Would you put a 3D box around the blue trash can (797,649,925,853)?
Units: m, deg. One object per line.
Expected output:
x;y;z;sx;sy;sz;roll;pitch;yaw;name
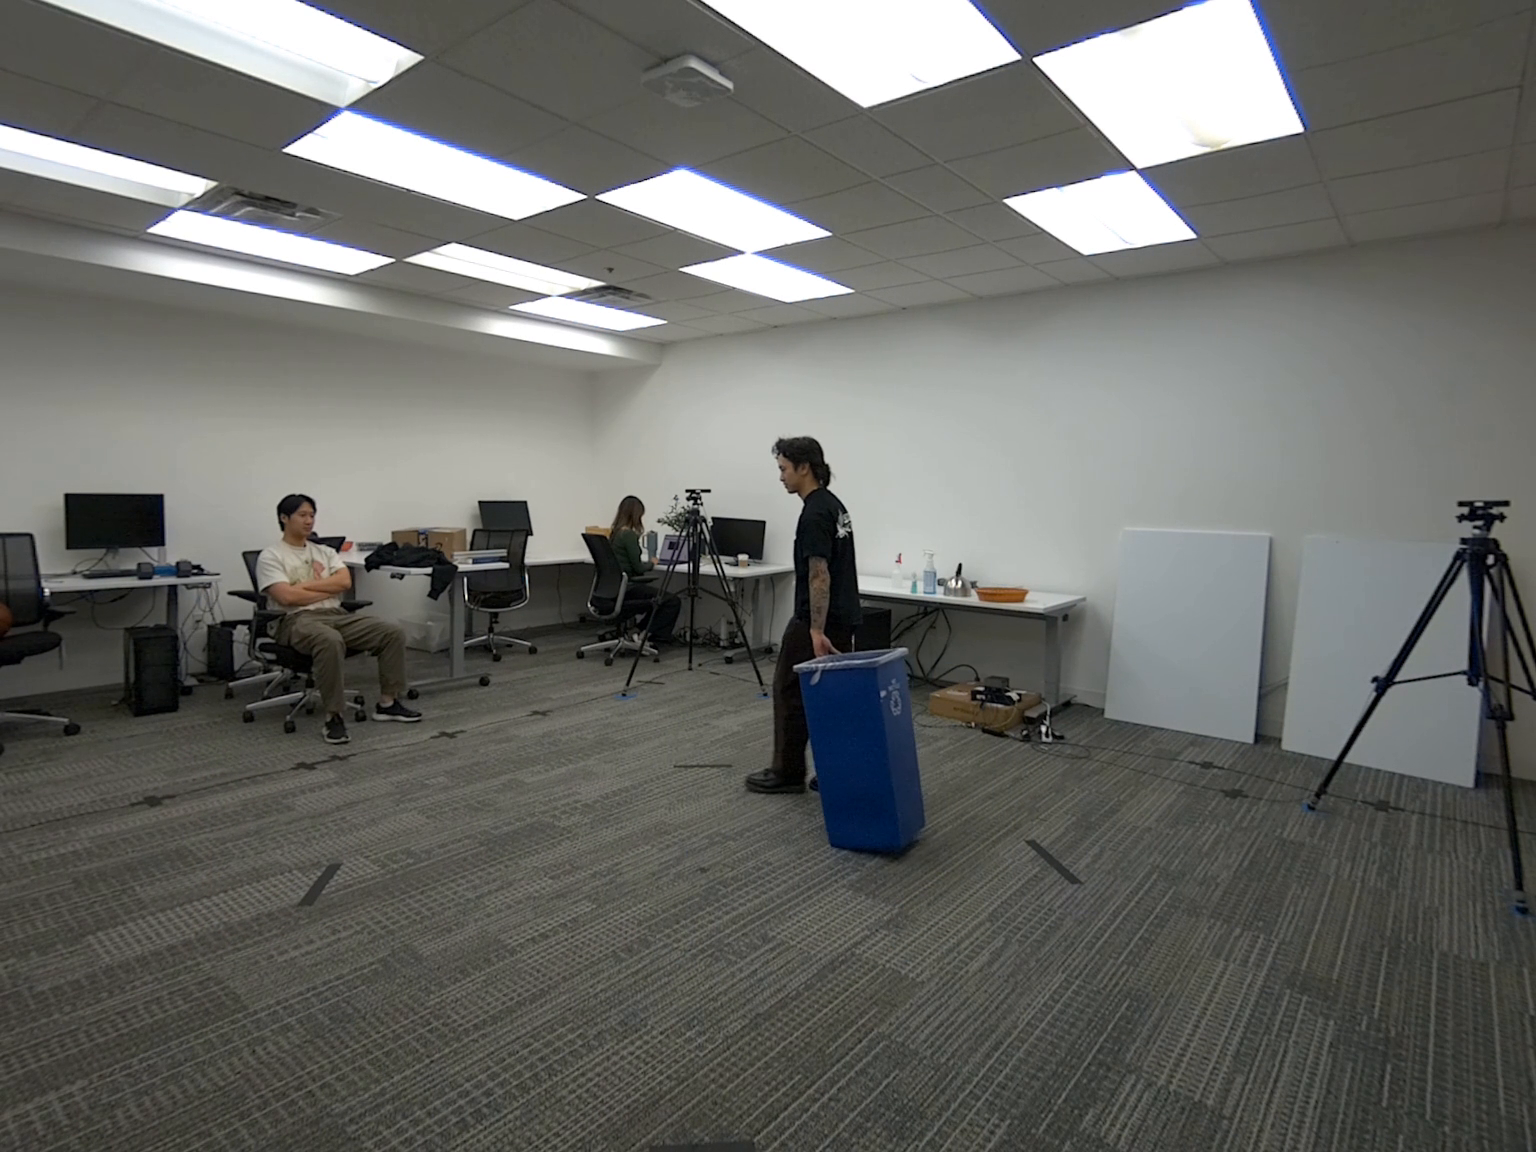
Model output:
0.380;0.677;3.427;0.387;0.716;0.364;-10;-3;29;blue trash can
